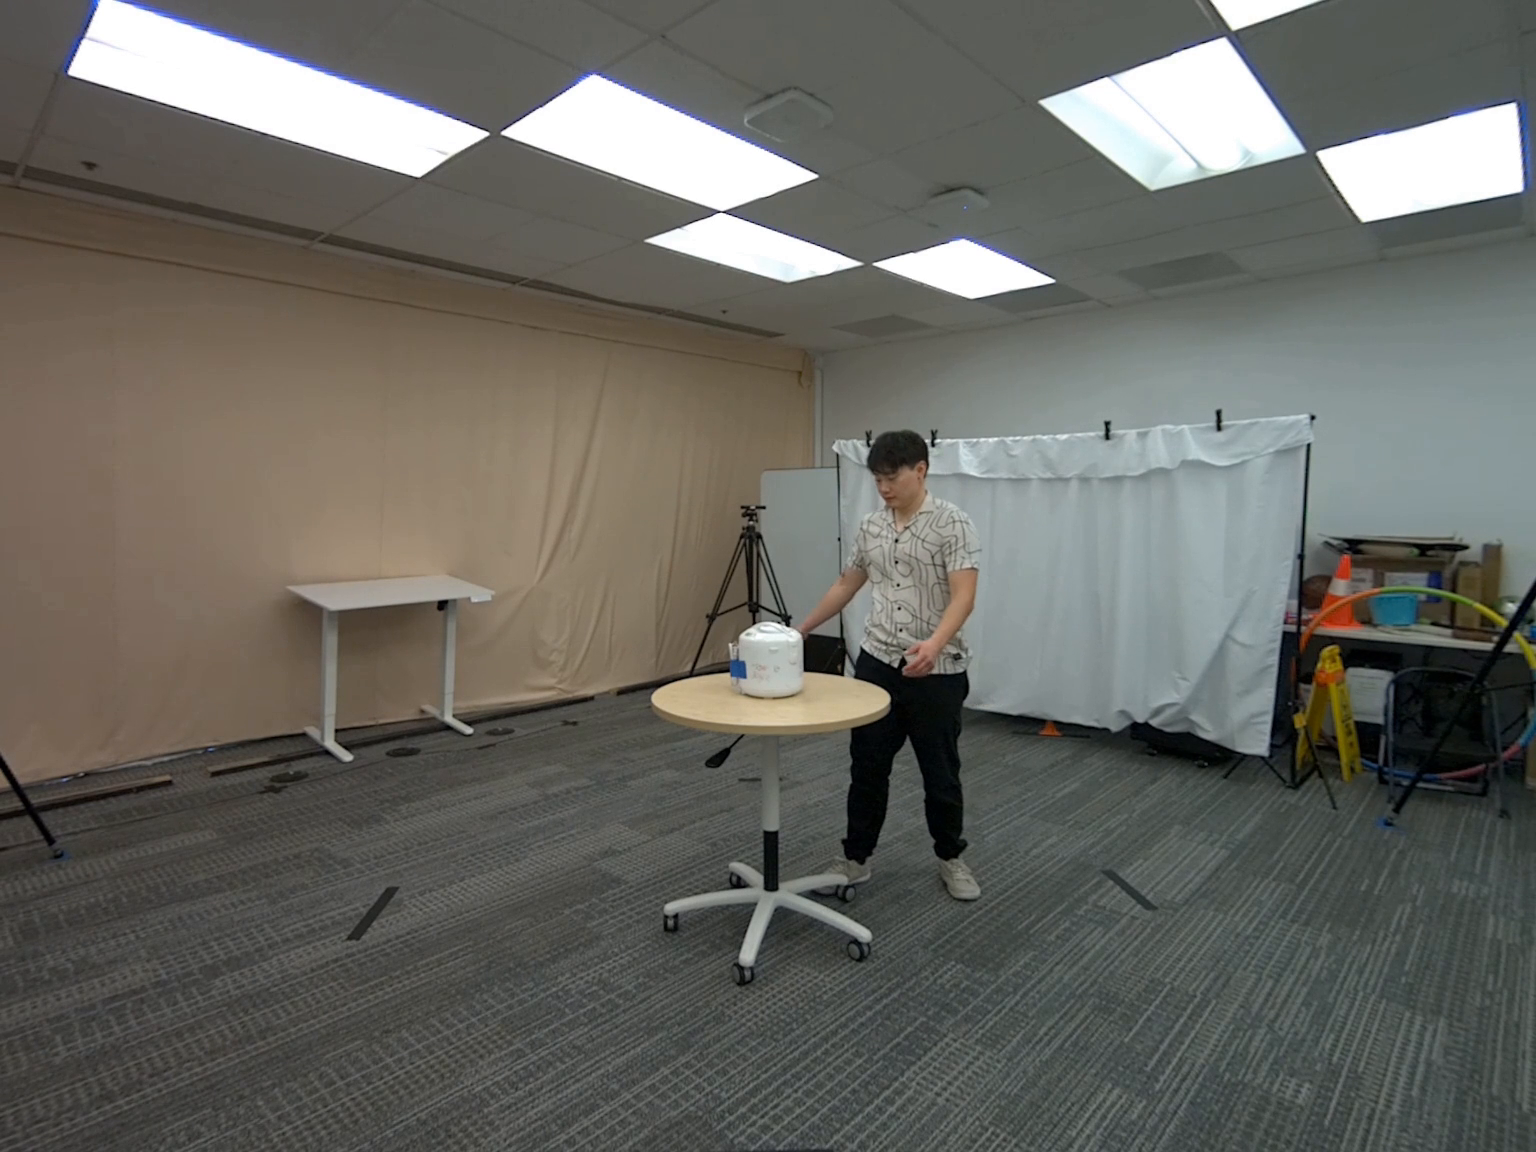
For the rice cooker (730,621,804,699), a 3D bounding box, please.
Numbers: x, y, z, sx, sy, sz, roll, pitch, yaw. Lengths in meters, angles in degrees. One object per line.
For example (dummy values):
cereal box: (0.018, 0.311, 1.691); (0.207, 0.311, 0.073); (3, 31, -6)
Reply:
rice cooker: (0.010, 0.268, 2.738); (0.211, 0.232, 0.228); (-6, 5, -43)
